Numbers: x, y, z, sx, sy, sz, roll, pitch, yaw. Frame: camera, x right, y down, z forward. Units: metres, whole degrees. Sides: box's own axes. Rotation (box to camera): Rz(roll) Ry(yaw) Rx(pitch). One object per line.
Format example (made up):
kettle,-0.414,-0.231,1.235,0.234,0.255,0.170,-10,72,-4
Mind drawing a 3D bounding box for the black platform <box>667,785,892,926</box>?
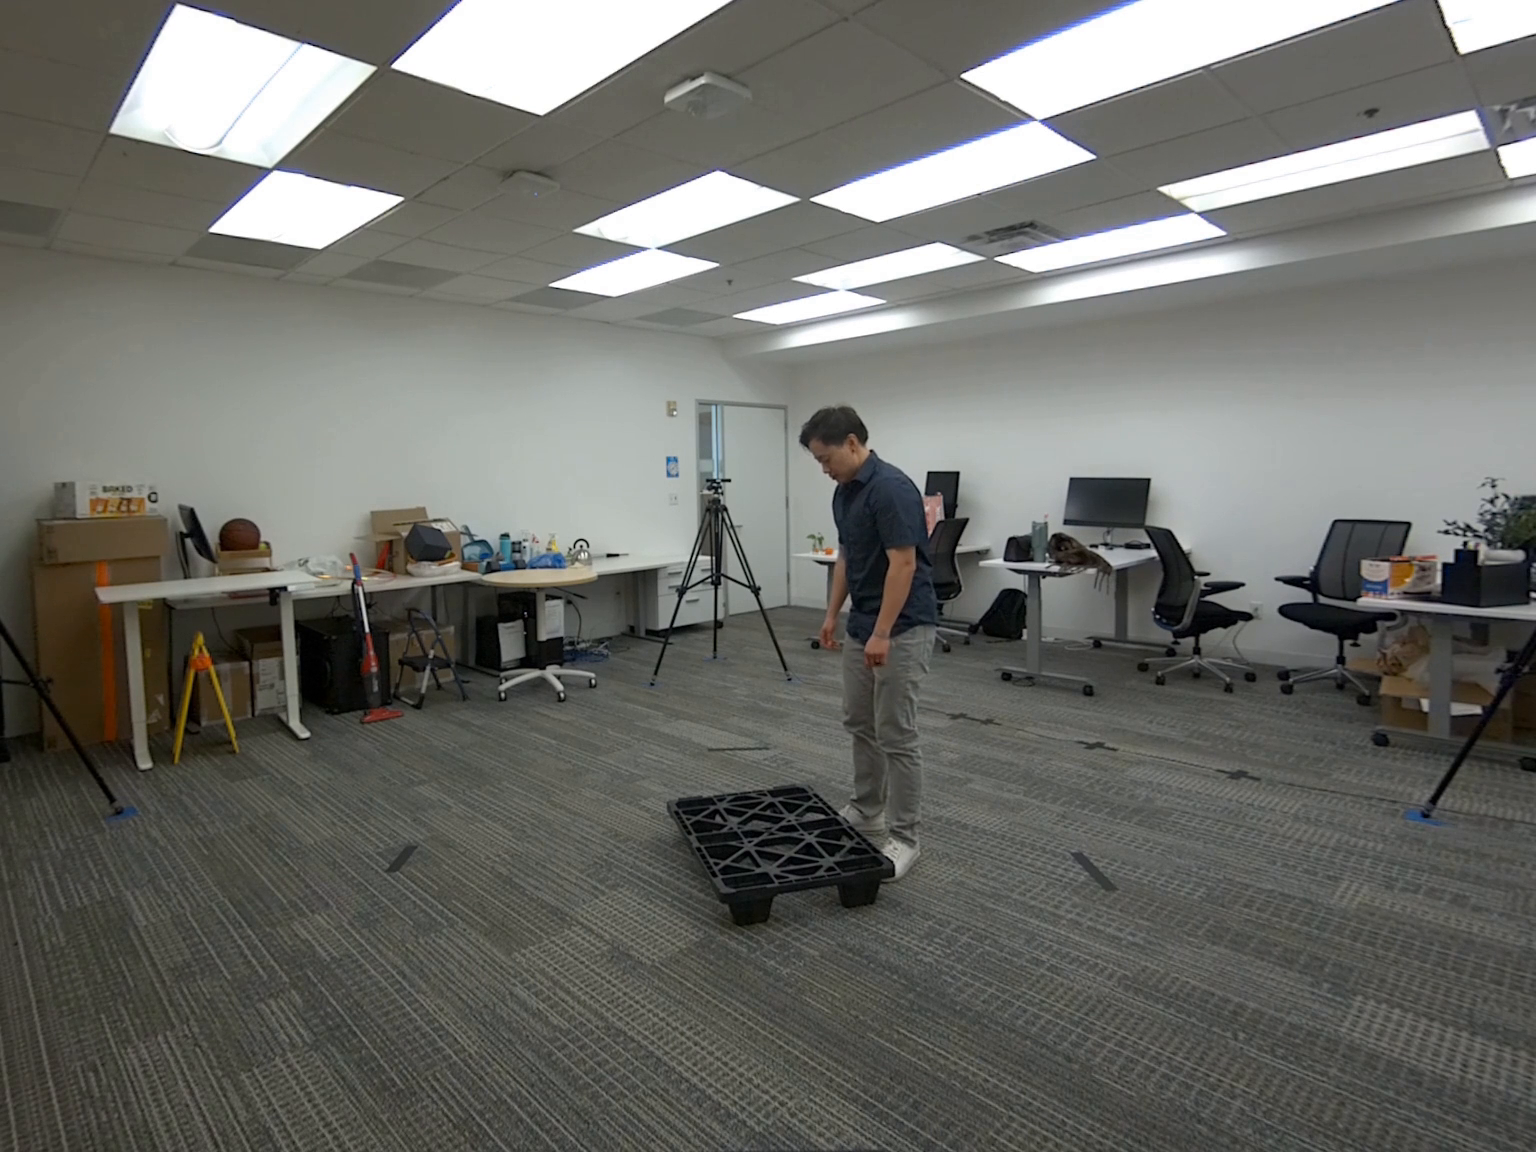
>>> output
black platform,0.006,0.980,3.073,0.596,0.143,0.821,-4,6,-17
